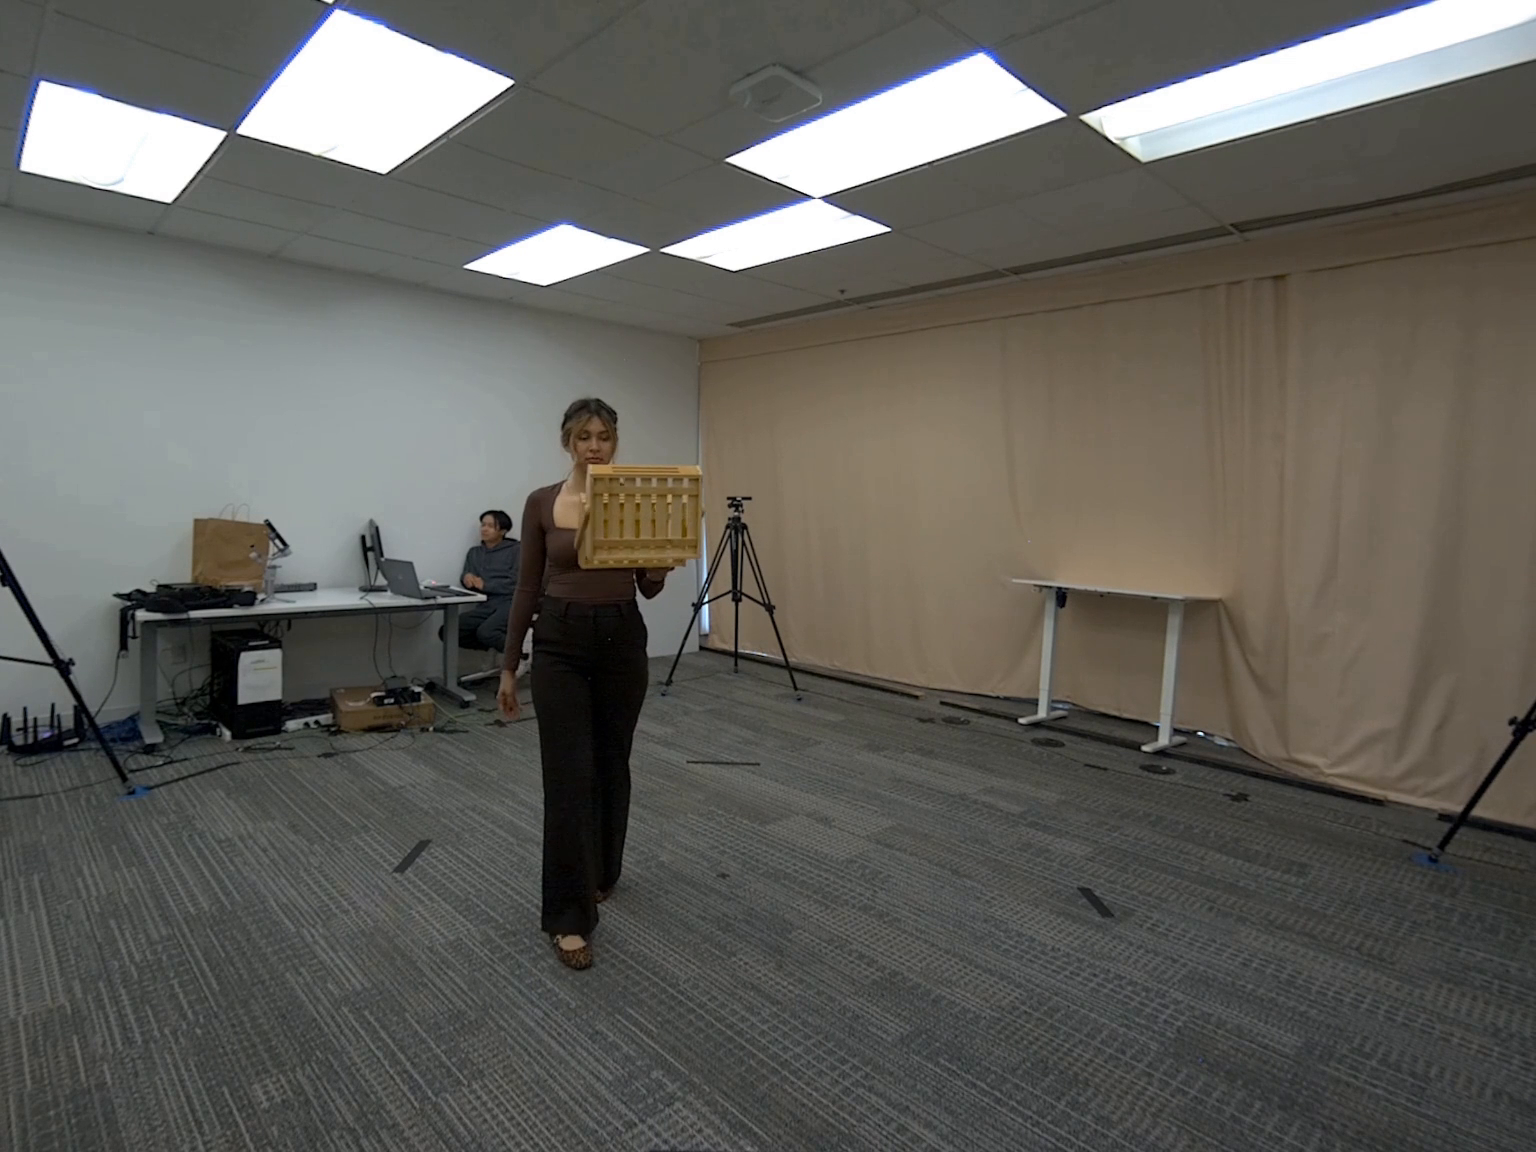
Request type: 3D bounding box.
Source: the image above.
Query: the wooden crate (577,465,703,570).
[{"bbox_3d":[-0.370,-0.166,2.362,0.320,0.300,0.279,-1,9,-19],"label":"wooden crate"}]
